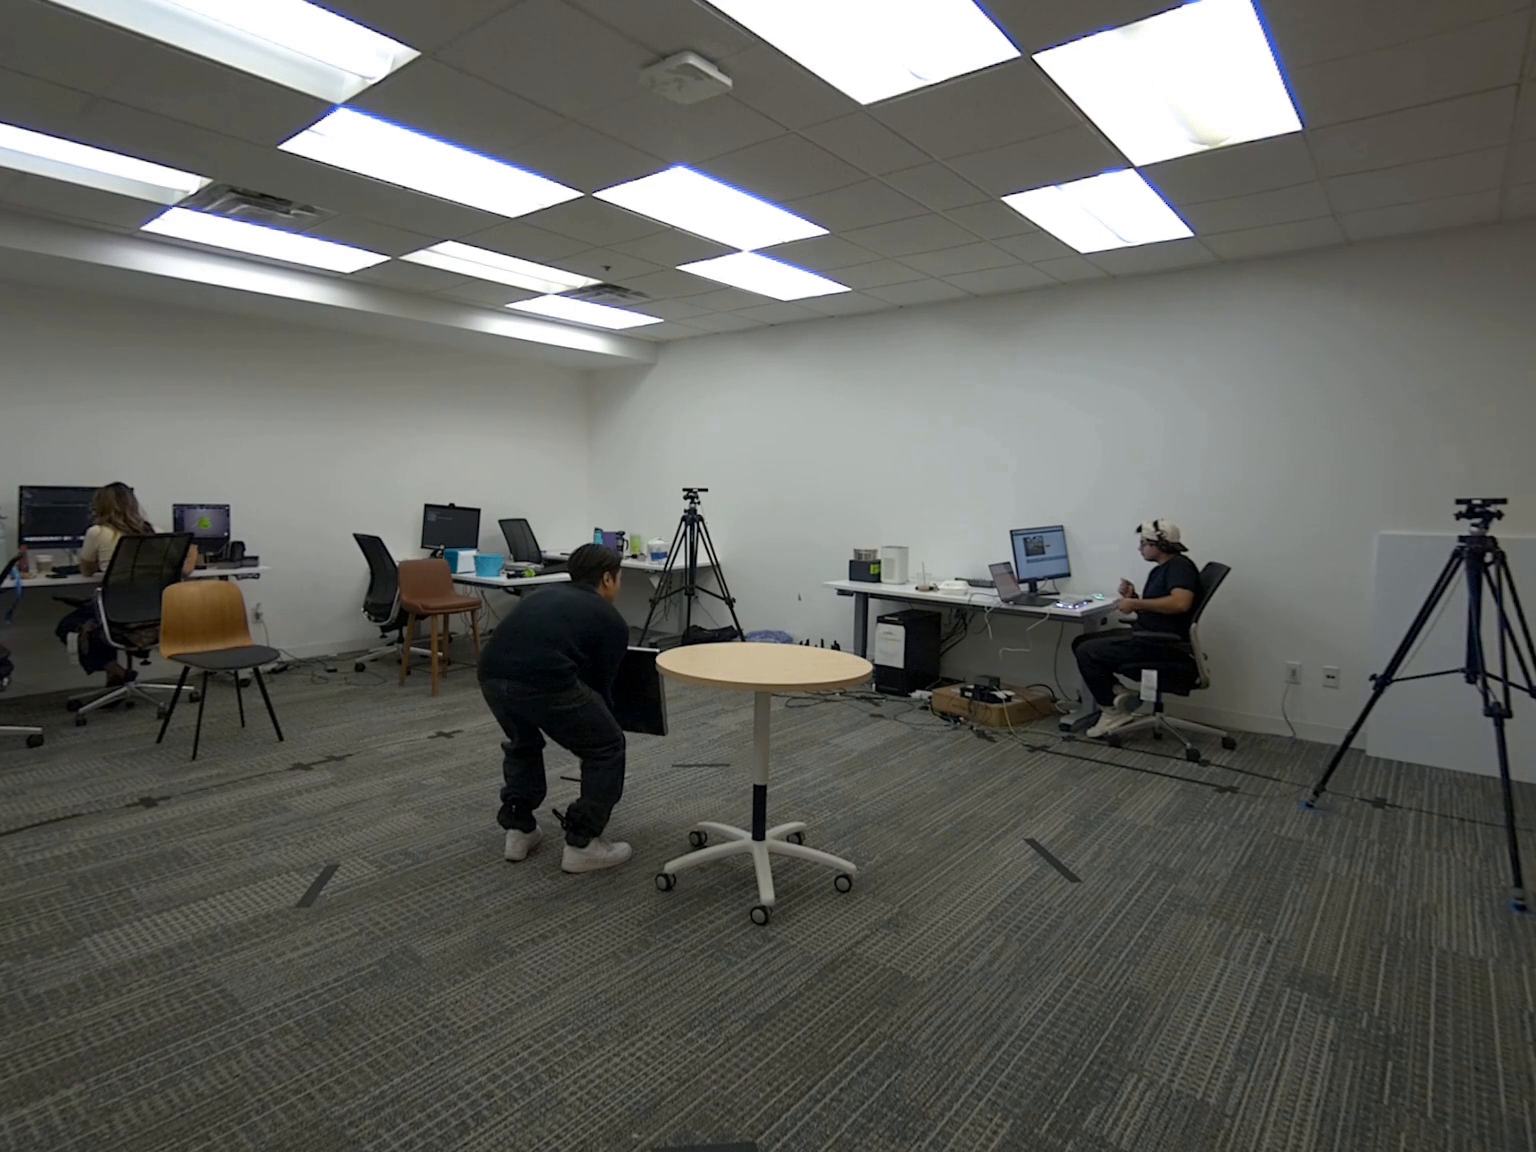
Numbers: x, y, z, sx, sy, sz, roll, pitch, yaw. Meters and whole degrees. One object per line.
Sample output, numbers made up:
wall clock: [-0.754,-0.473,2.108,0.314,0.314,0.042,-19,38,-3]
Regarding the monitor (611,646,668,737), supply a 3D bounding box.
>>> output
monitor: [-0.704,0.553,3.480,0.552,0.523,0.182,2,0,24]
